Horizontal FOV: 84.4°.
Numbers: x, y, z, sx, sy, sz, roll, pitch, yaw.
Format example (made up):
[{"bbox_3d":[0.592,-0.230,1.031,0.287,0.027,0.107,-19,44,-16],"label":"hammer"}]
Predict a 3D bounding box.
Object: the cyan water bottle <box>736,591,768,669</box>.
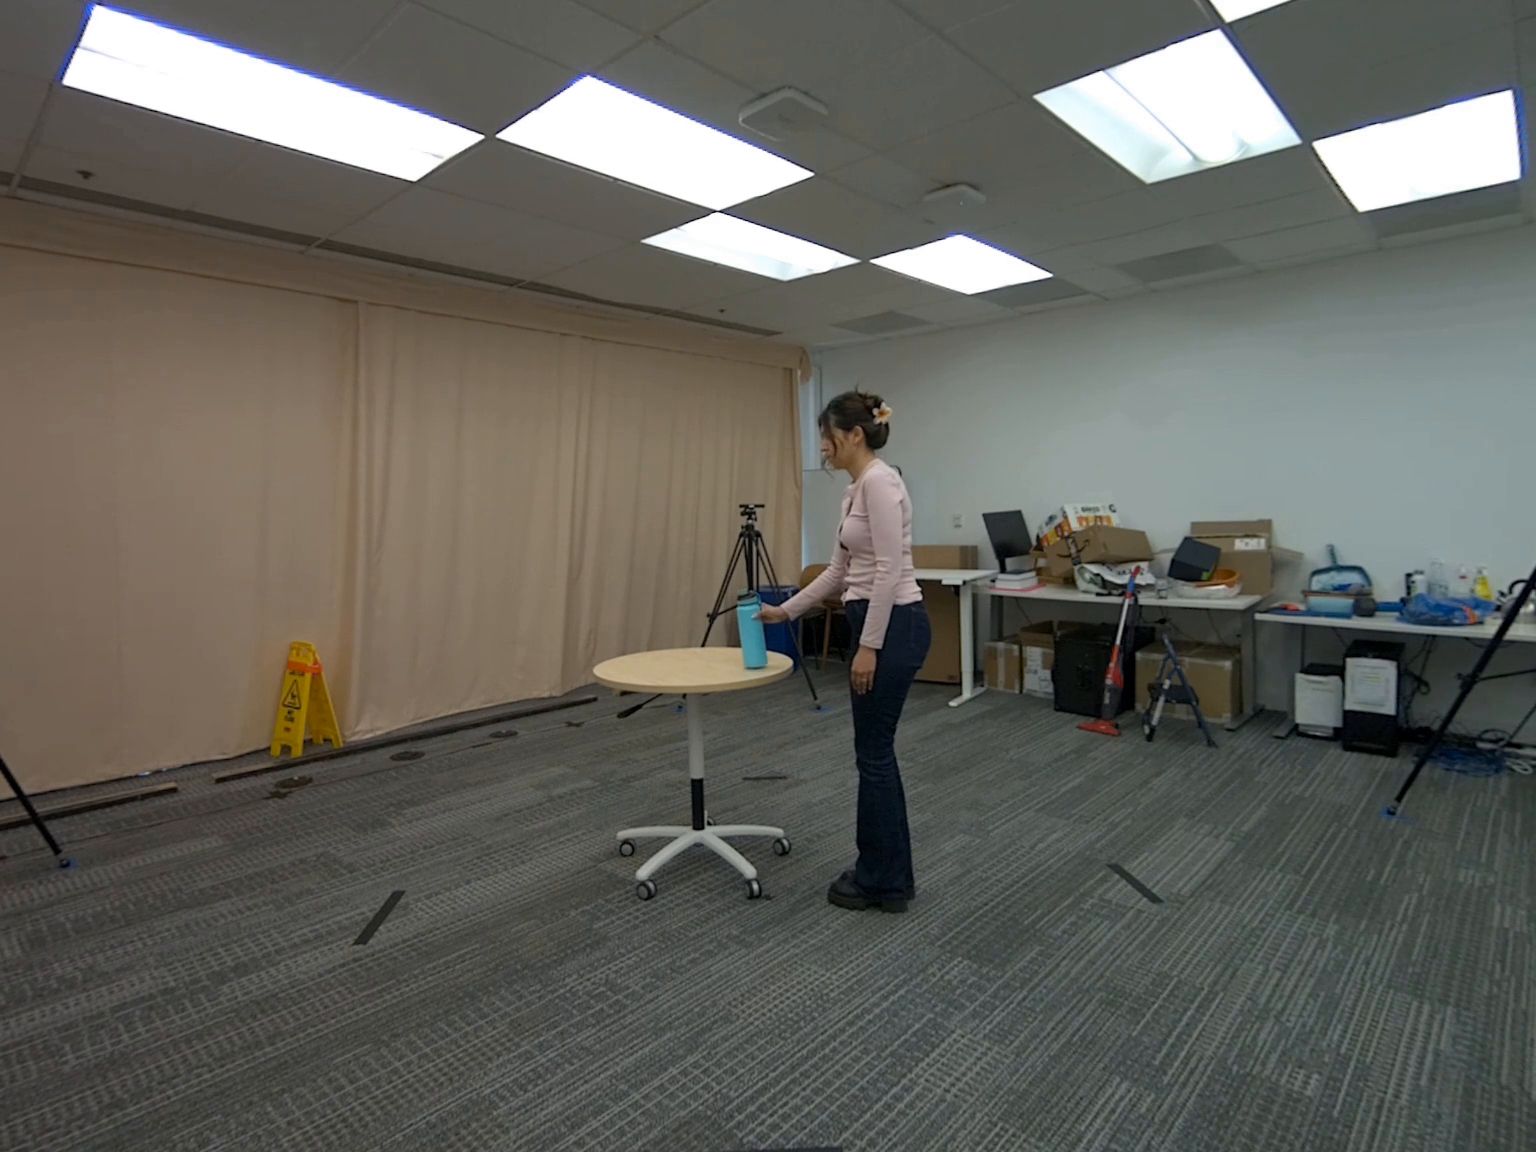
[{"bbox_3d":[-0.051,0.198,3.112,0.092,0.283,0.092,-5,3,-2],"label":"cyan water bottle"}]
